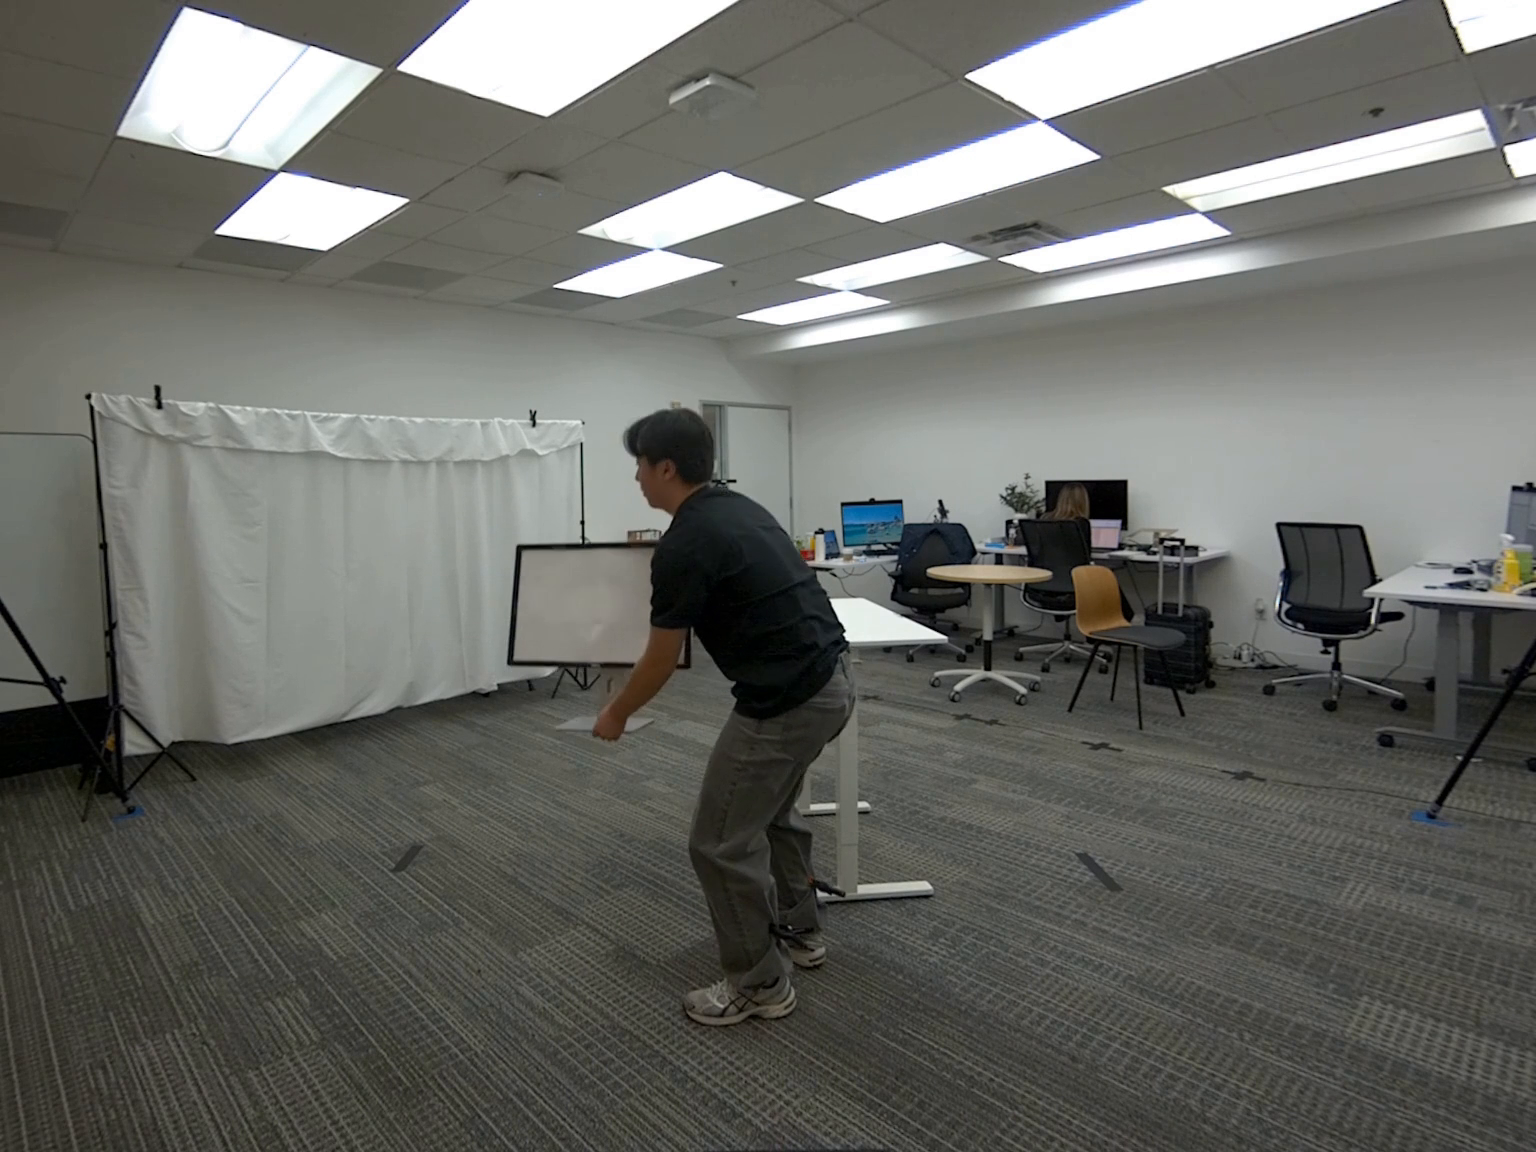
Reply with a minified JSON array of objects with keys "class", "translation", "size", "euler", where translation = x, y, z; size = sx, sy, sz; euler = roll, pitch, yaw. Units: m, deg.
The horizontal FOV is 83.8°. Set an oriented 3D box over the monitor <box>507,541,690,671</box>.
[{"class":"monitor","translation":[-0.471,0.187,2.496],"size":[0.571,0.565,0.219],"euler":[-2,2,18]}]
